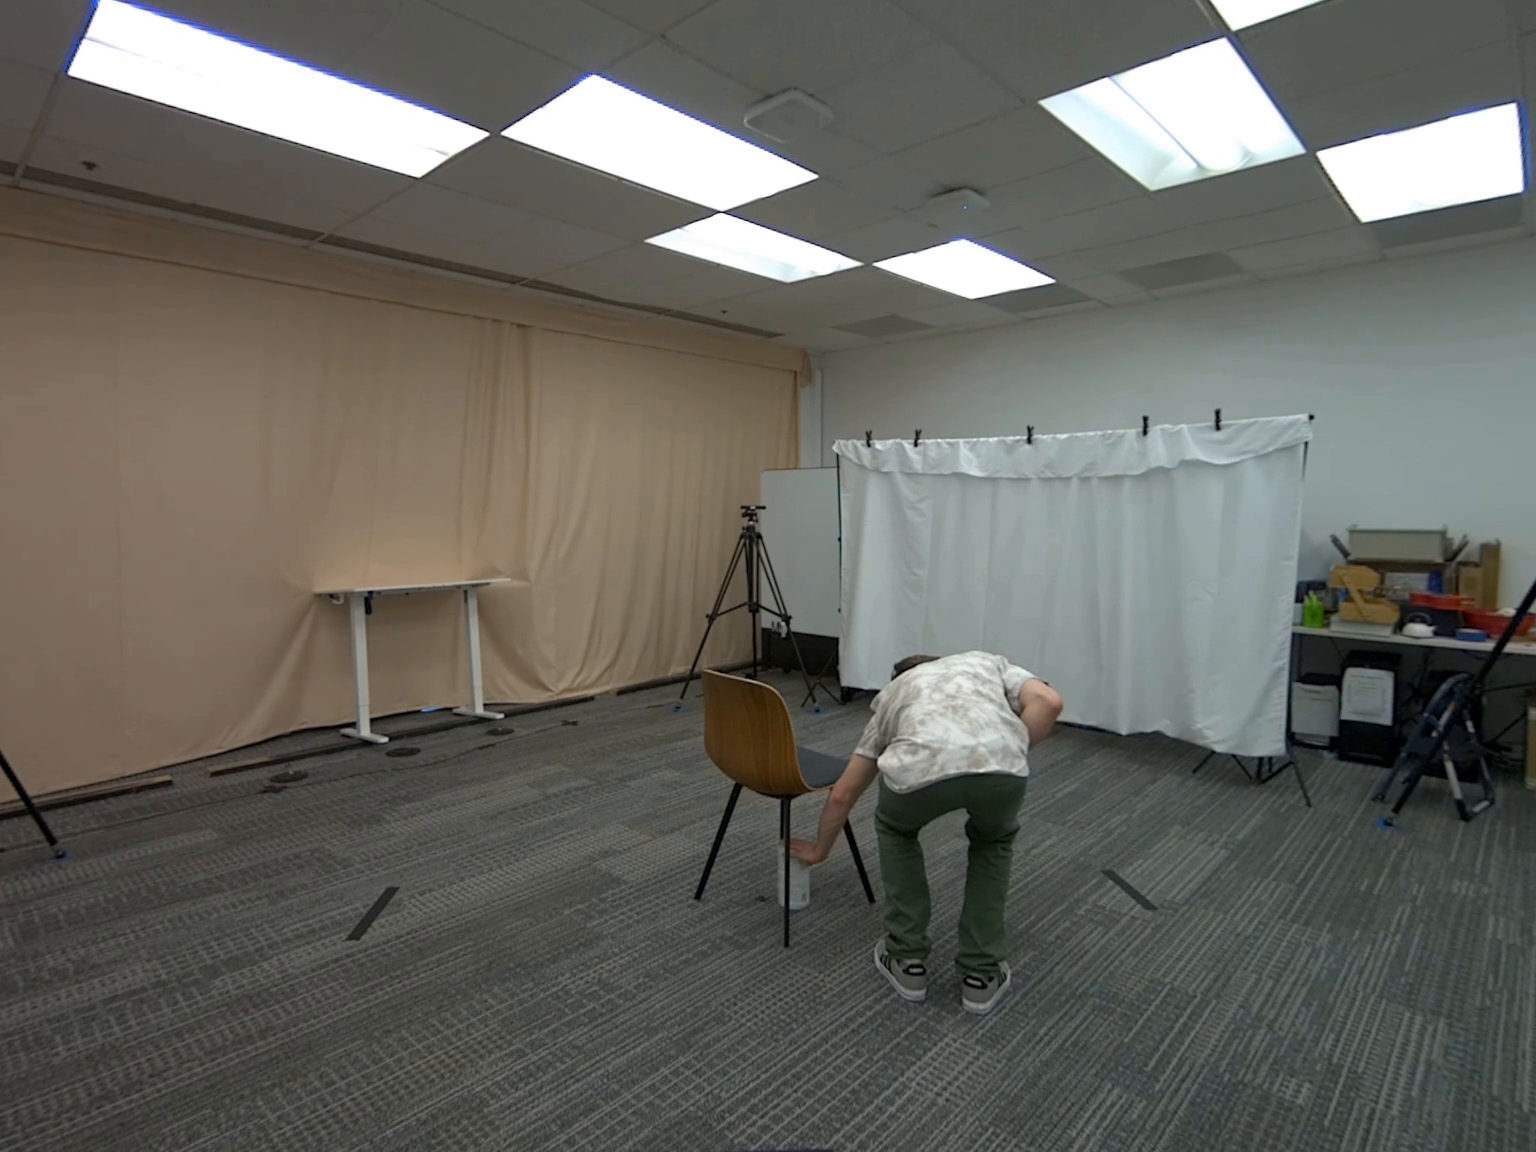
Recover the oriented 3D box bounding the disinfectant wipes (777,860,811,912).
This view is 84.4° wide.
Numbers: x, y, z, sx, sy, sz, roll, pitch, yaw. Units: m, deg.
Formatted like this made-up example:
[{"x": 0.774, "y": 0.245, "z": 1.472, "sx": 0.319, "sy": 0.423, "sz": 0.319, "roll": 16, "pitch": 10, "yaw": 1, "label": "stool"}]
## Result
[{"x": 0.105, "y": 1.054, "z": 2.939, "sx": 0.118, "sy": 0.217, "sz": 0.118, "roll": 1, "pitch": 1, "yaw": -2, "label": "disinfectant wipes"}]
